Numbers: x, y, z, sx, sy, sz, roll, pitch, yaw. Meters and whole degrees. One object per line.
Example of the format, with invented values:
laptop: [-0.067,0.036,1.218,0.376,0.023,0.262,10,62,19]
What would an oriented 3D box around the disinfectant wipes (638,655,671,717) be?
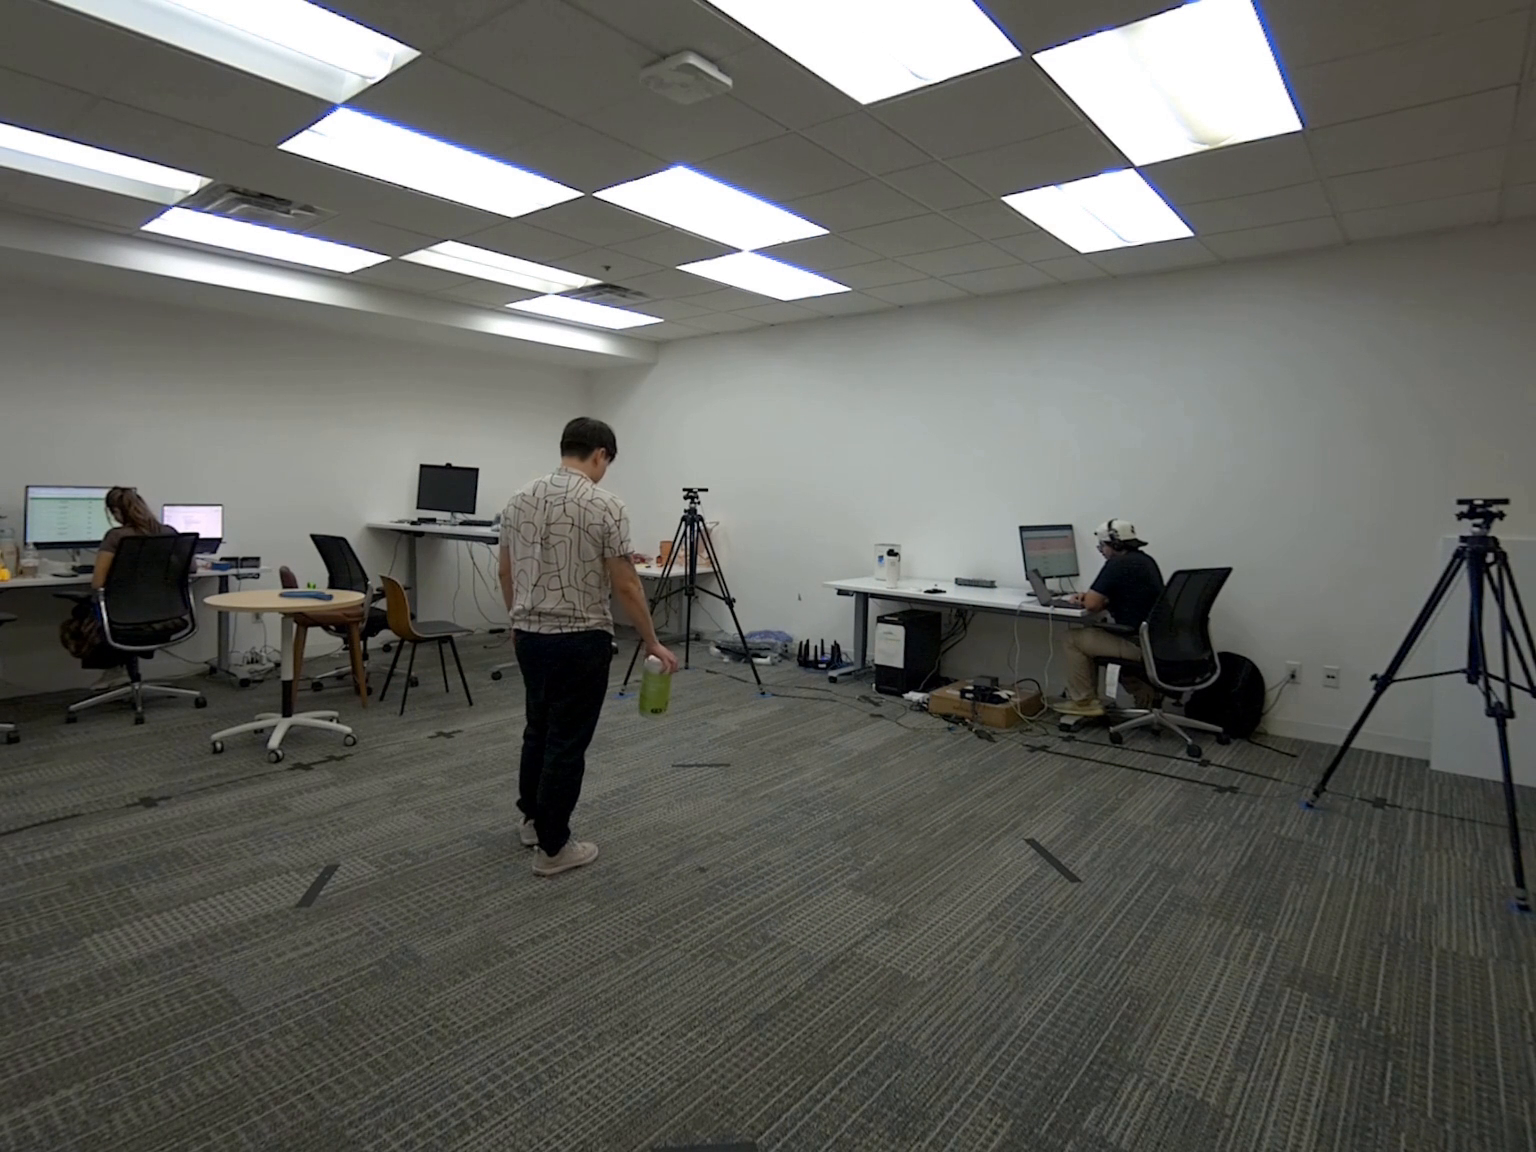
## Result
disinfectant wipes: [-0.441,0.414,3.154,0.117,0.215,0.120,8,16,-4]
